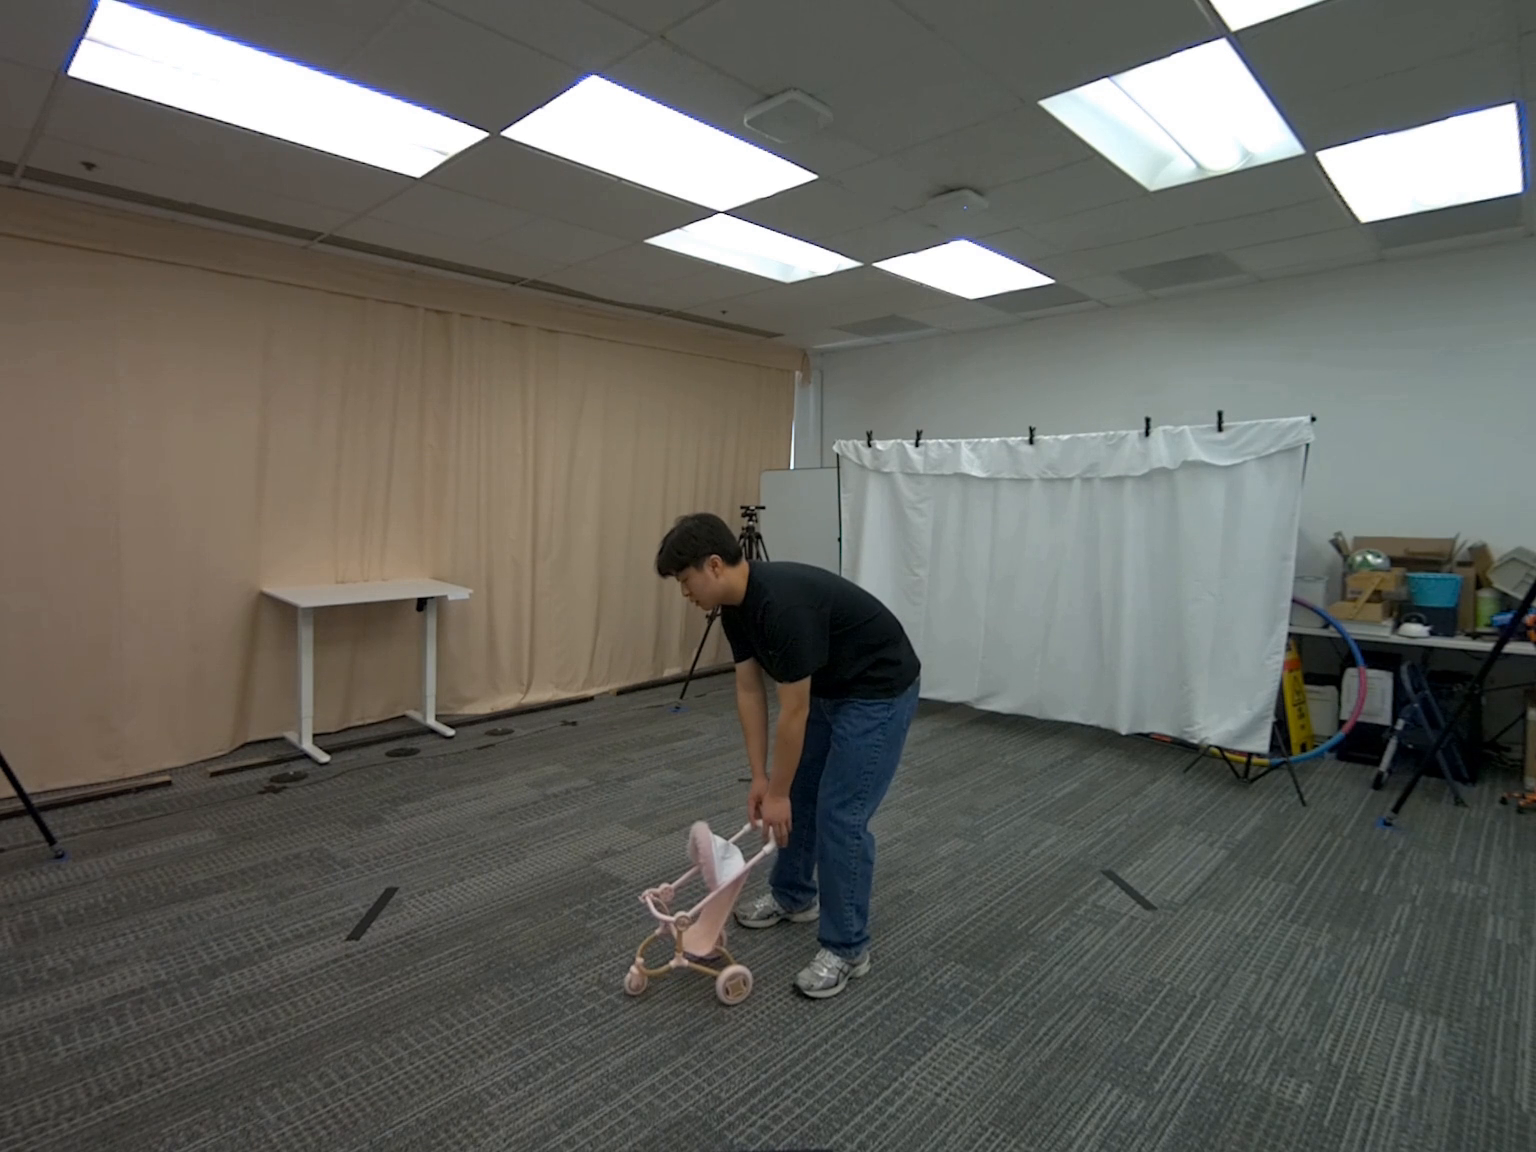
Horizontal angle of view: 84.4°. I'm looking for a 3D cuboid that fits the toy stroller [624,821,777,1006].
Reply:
[{"bbox_3d":[-0.204,0.969,2.450,0.336,0.535,0.286,14,0,-14],"label":"toy stroller"}]
